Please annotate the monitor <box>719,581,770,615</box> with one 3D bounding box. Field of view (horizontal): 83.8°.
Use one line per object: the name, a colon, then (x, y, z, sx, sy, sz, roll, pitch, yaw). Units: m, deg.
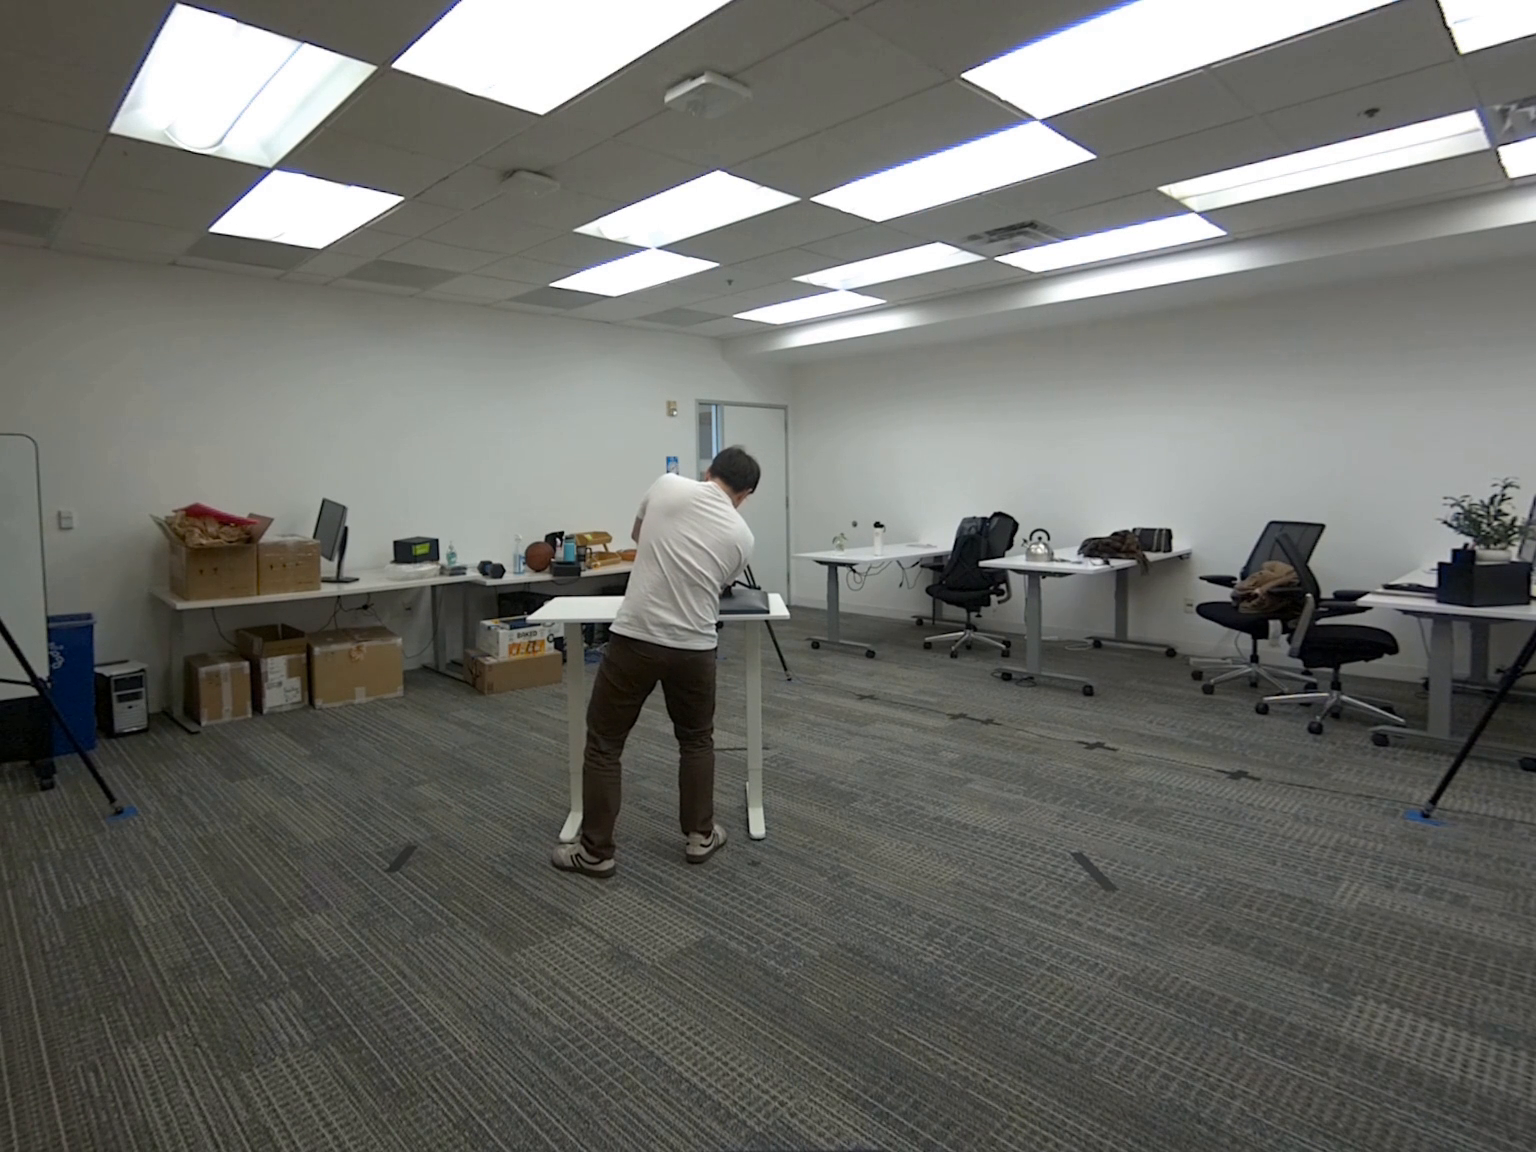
monitor: (-0.248, 0.053, 3.538, 0.523, 0.186, 0.541, 16, 7, -1)
